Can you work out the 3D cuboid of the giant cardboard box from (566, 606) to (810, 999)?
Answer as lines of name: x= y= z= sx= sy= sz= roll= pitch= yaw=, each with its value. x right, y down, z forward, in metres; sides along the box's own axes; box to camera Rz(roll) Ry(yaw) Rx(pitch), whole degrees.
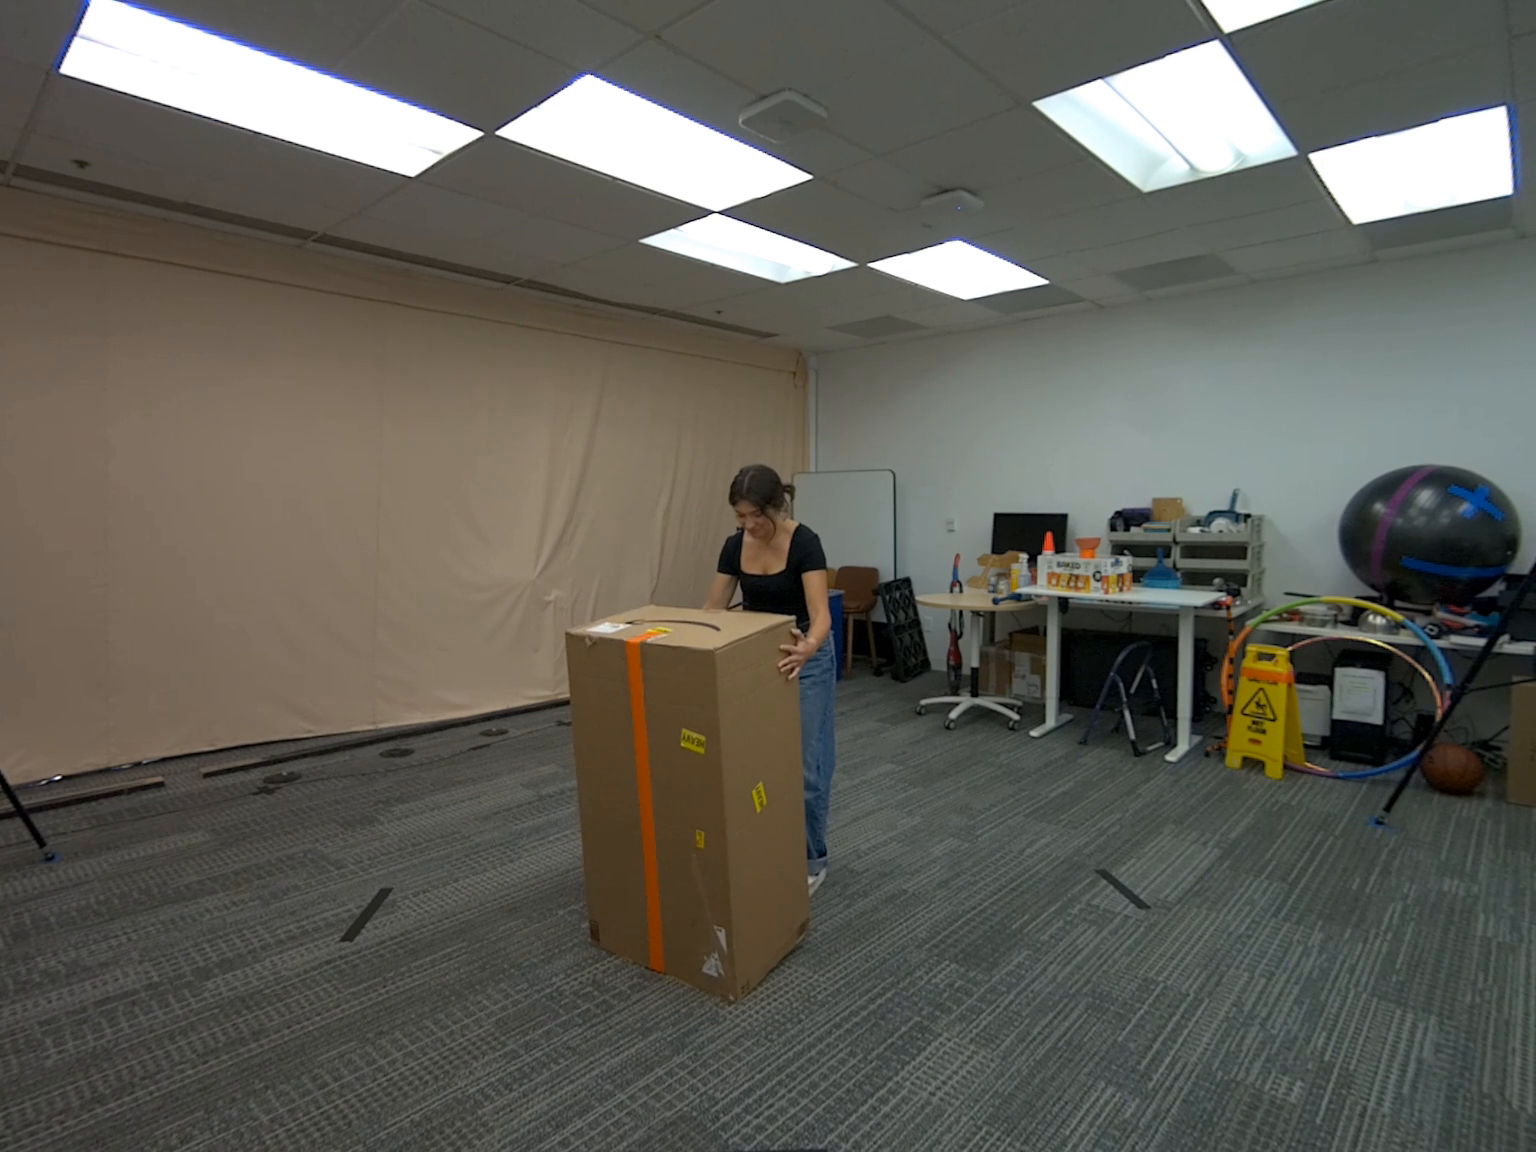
giant cardboard box: x=-0.249 y=0.649 z=2.612 sx=0.595 sy=1.020 sz=0.415 roll=2 pitch=9 yaw=34
